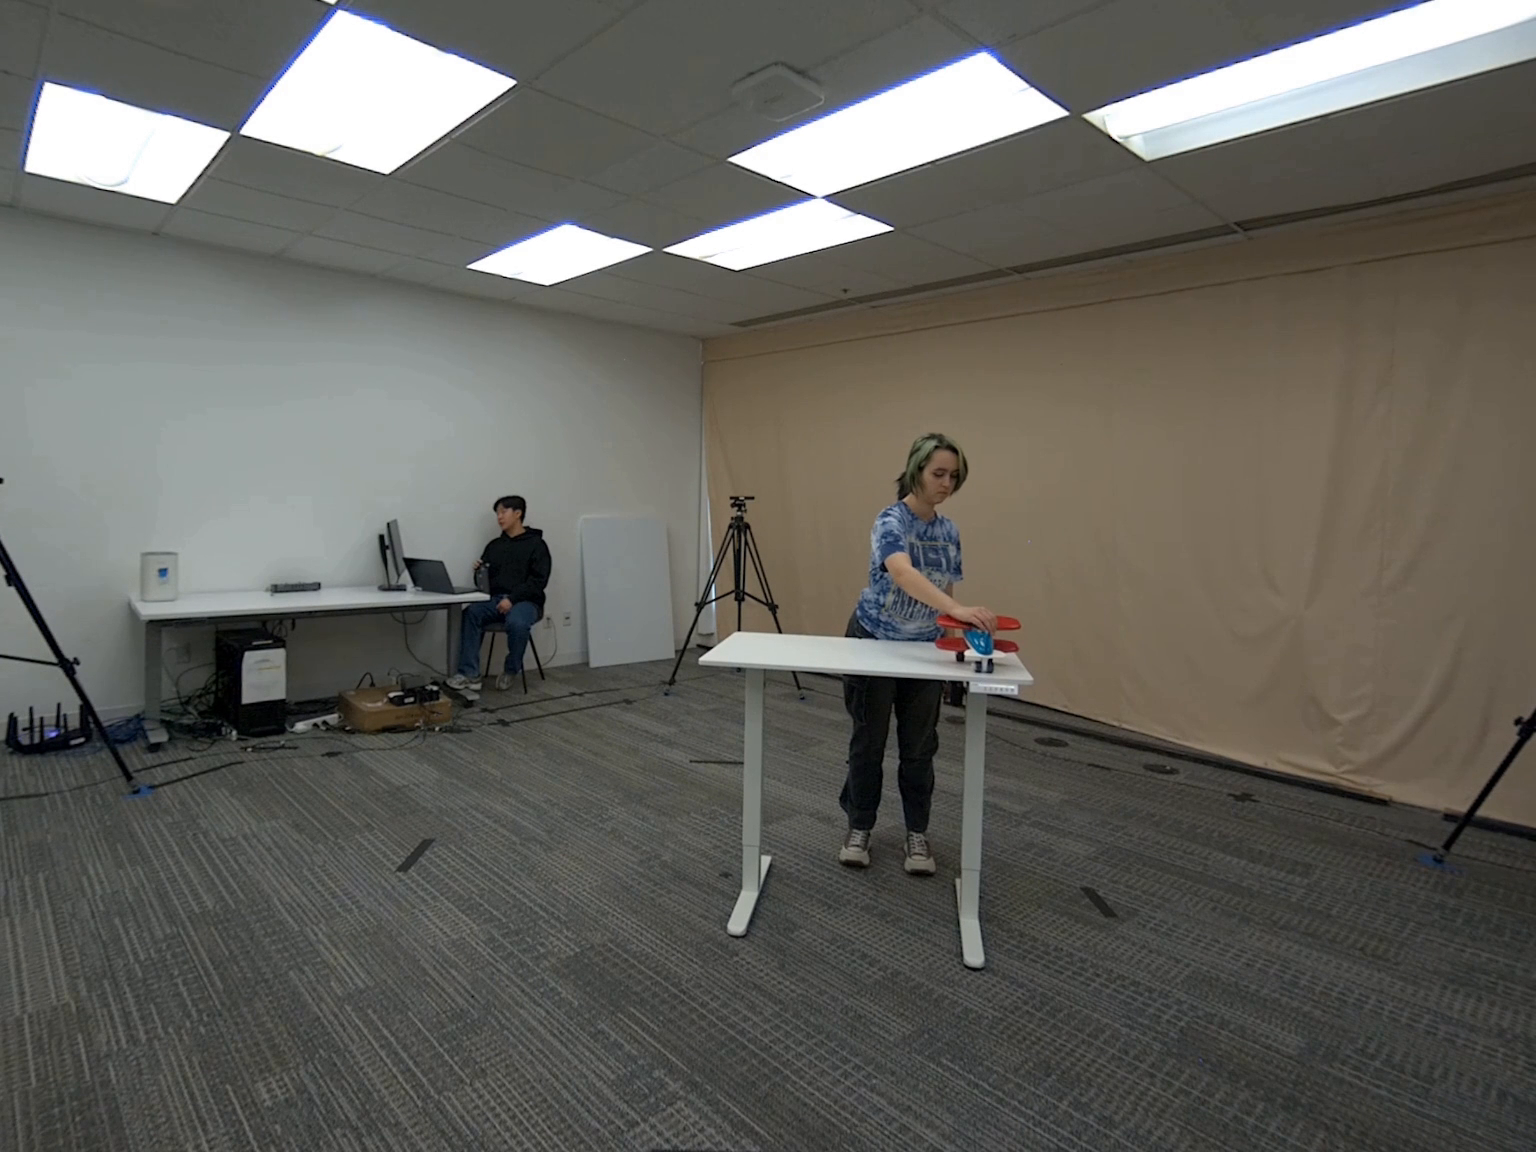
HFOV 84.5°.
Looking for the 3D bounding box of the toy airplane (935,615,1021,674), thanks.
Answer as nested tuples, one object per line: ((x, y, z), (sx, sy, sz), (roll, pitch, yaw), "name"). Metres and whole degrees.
((0.663, 0.208, 2.619), (0.247, 0.156, 0.264), (-1, 5, -23), "toy airplane")
